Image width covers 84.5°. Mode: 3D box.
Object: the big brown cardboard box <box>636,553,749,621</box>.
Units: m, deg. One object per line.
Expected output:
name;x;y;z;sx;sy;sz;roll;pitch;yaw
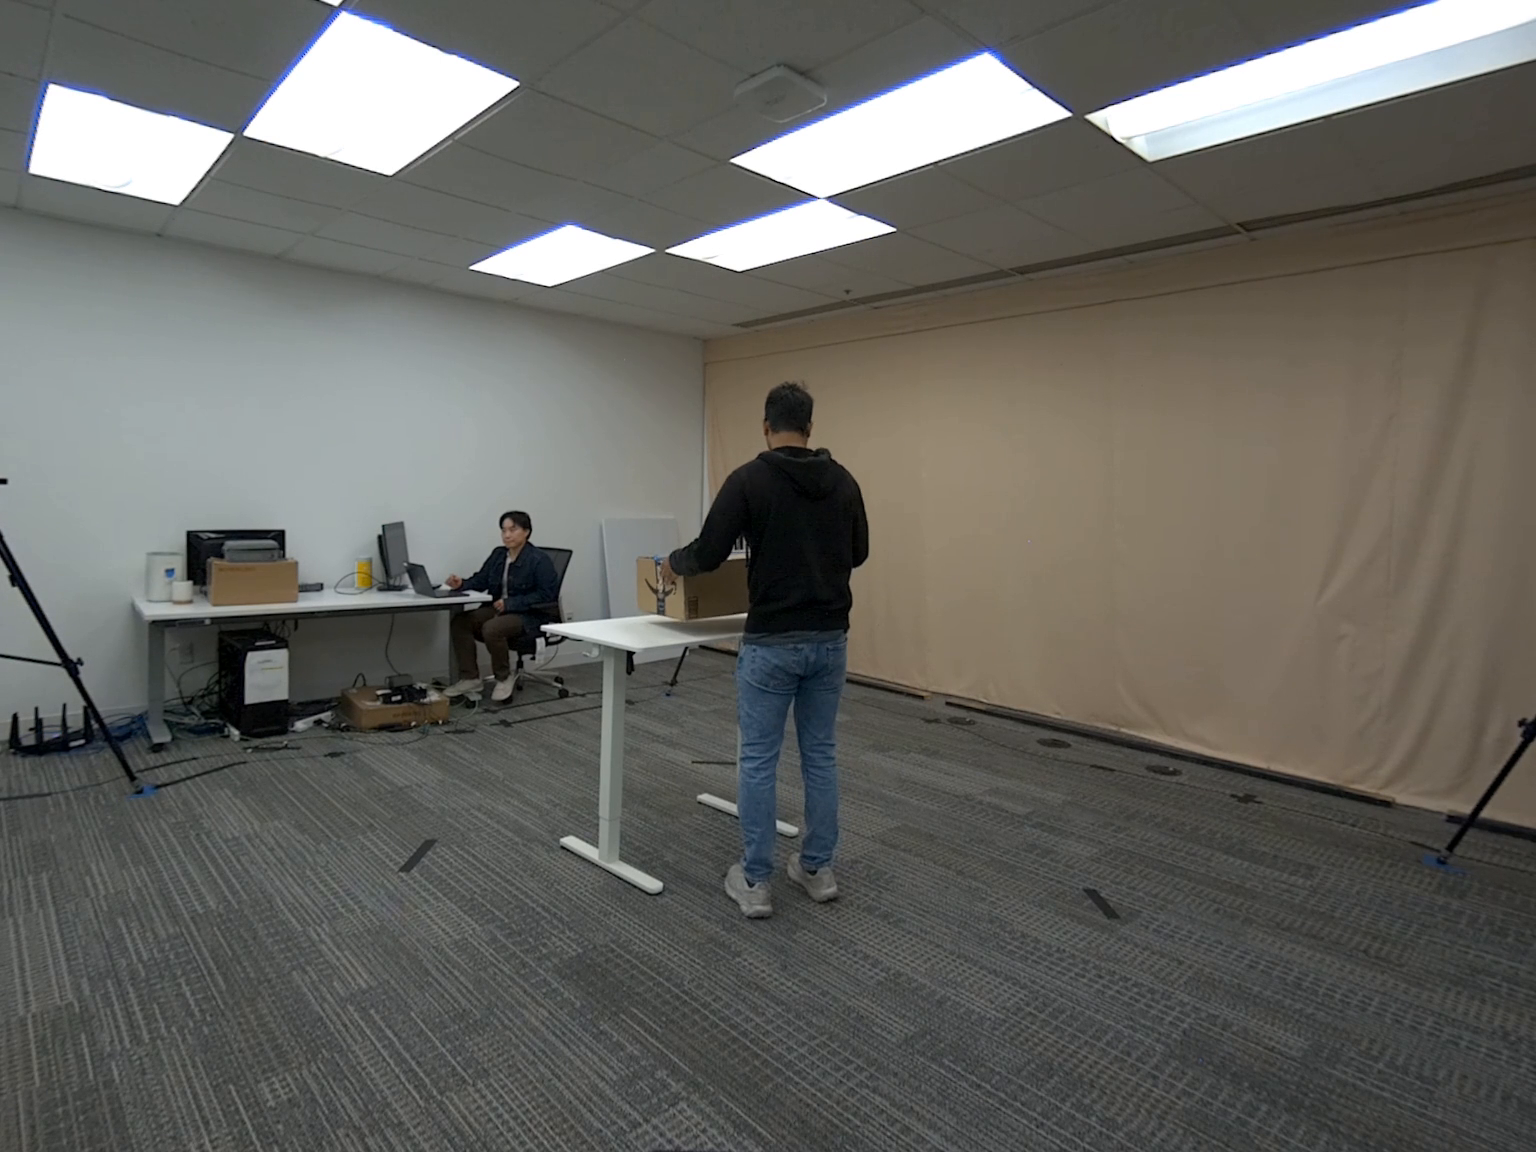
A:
big brown cardboard box;-0.182;0.020;3.367;0.577;0.232;0.427;-4;5;-33
